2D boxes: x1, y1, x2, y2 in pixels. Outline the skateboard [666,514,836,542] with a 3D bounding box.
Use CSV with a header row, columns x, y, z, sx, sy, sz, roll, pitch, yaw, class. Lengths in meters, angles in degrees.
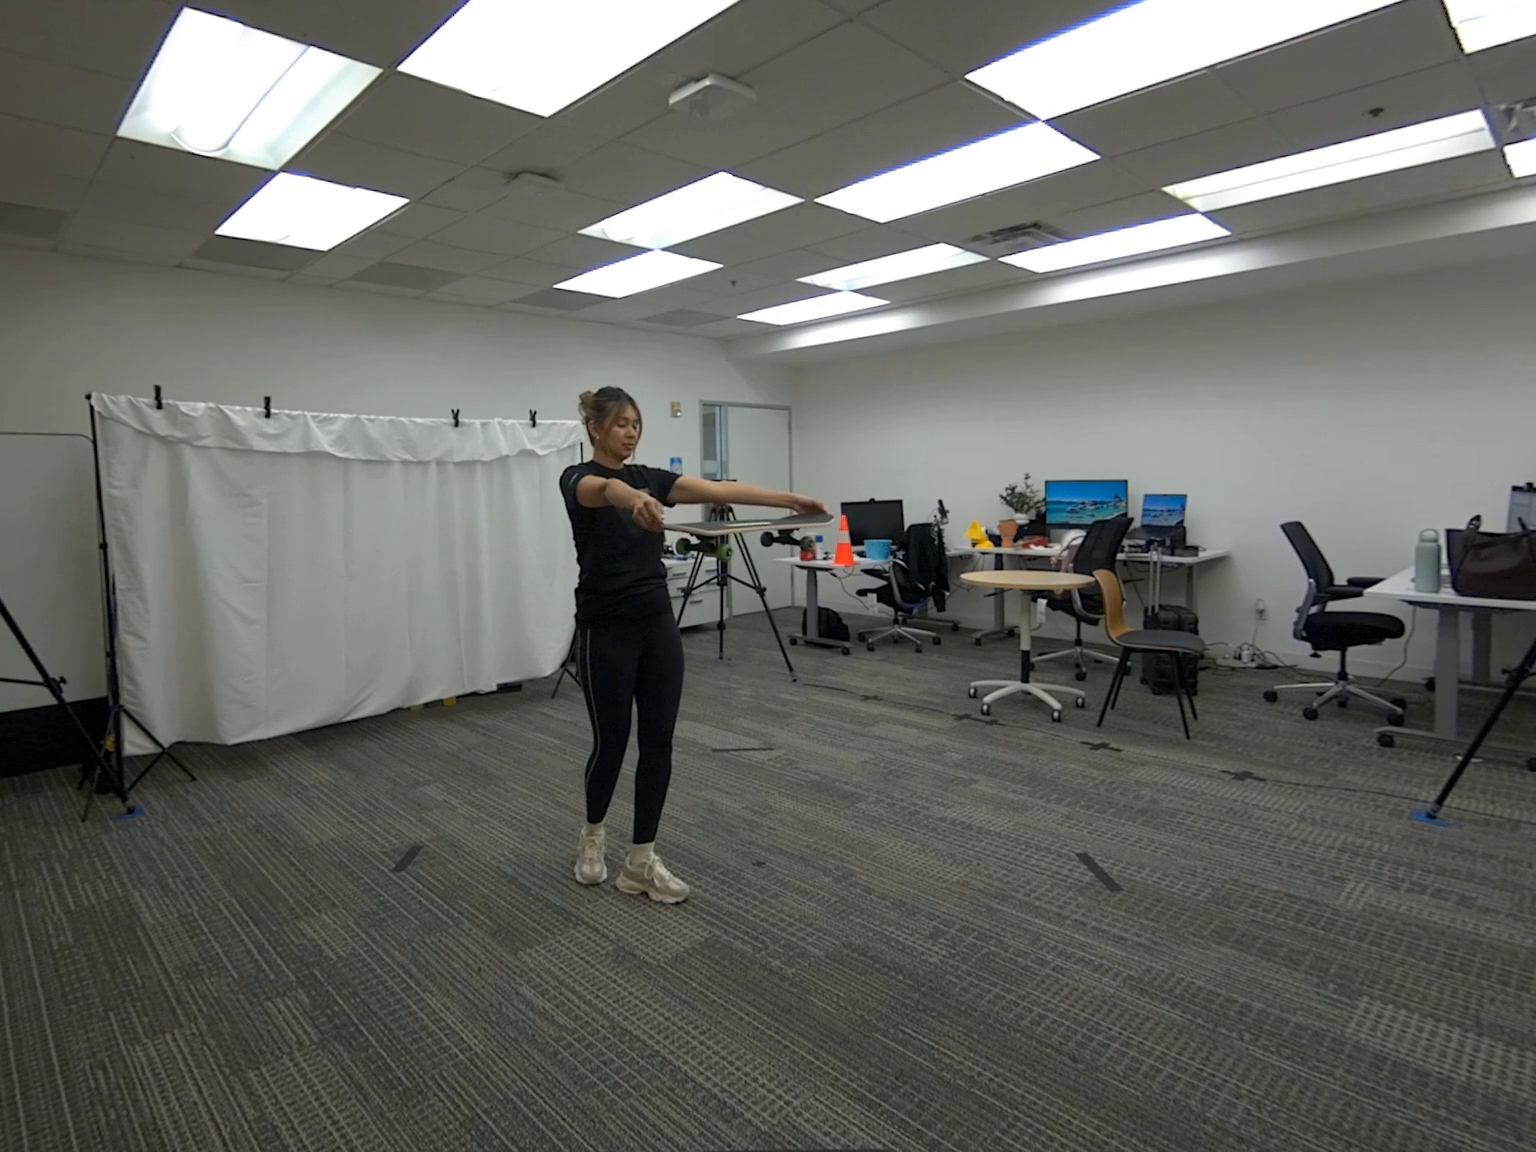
x,y,z,sx,sy,sz,roll,pitch,yaw,class
-0.067,-0.122,2.542,0.199,0.109,0.766,8,11,37,skateboard
